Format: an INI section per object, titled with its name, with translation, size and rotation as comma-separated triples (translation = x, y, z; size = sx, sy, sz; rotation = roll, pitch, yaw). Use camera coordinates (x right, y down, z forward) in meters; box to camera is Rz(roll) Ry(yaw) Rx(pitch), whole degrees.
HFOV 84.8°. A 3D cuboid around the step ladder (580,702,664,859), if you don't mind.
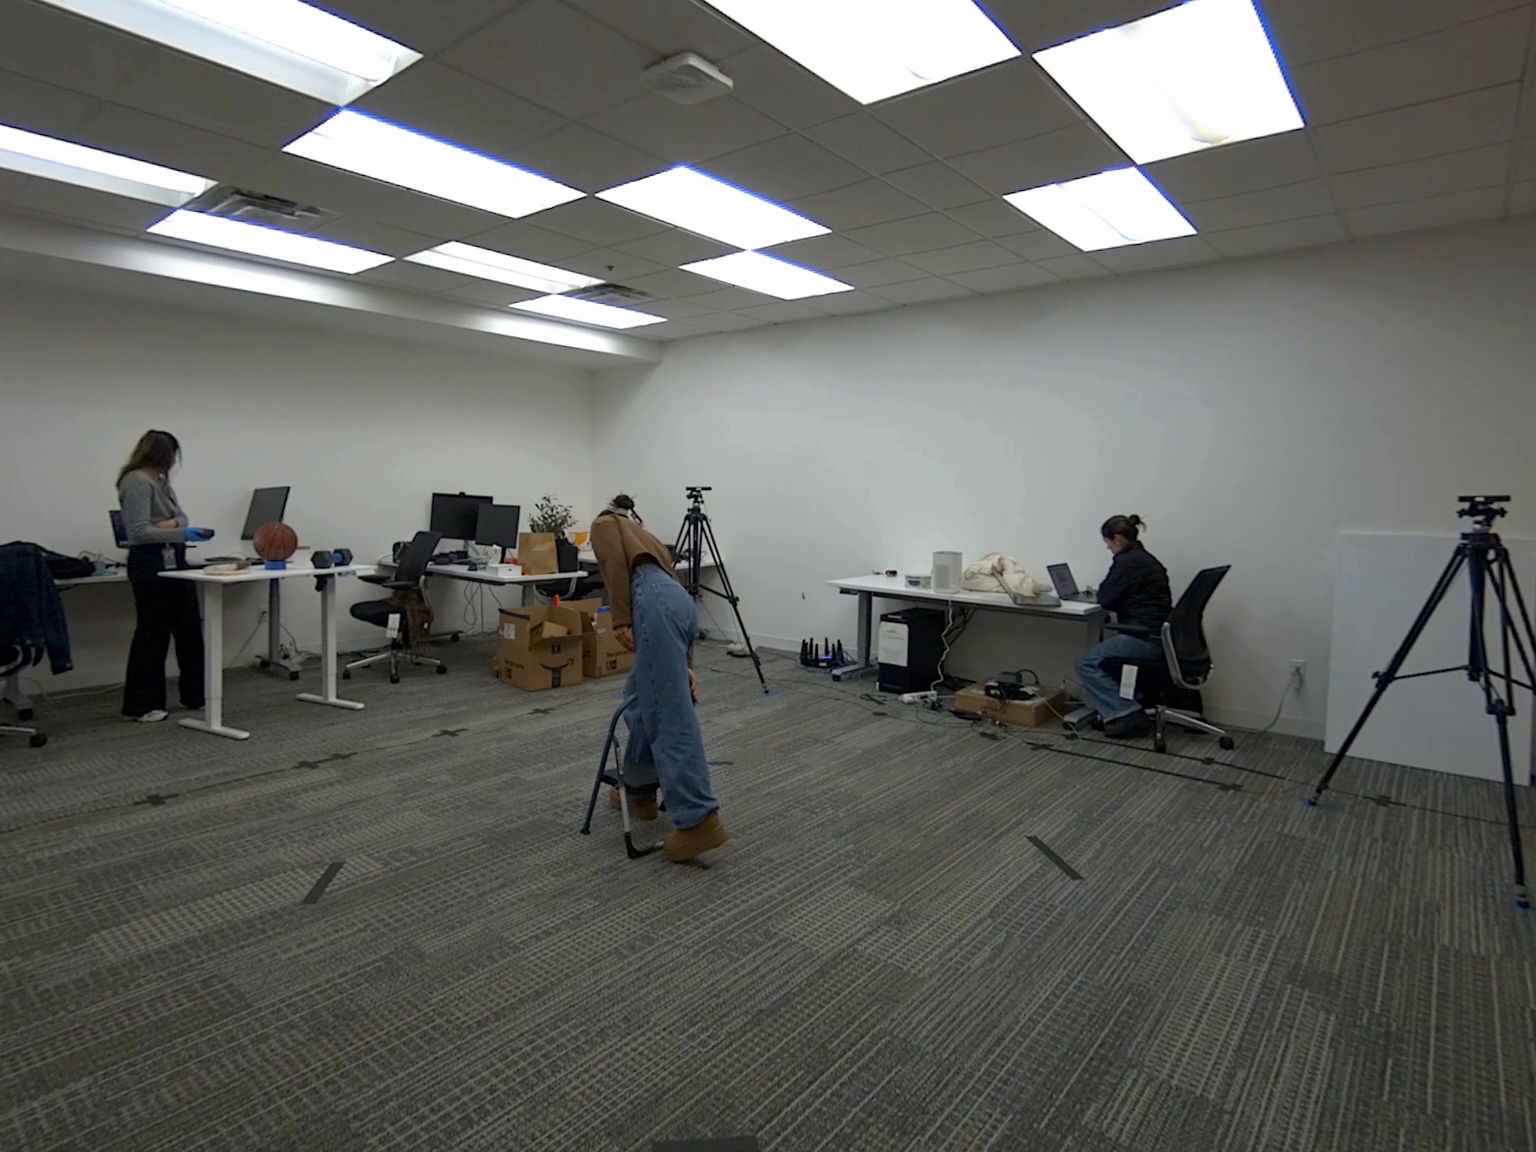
[step ladder]
translation = -0.488, 0.724, 3.410
size = 0.417, 0.604, 0.361
rotation = -2, 6, -44
